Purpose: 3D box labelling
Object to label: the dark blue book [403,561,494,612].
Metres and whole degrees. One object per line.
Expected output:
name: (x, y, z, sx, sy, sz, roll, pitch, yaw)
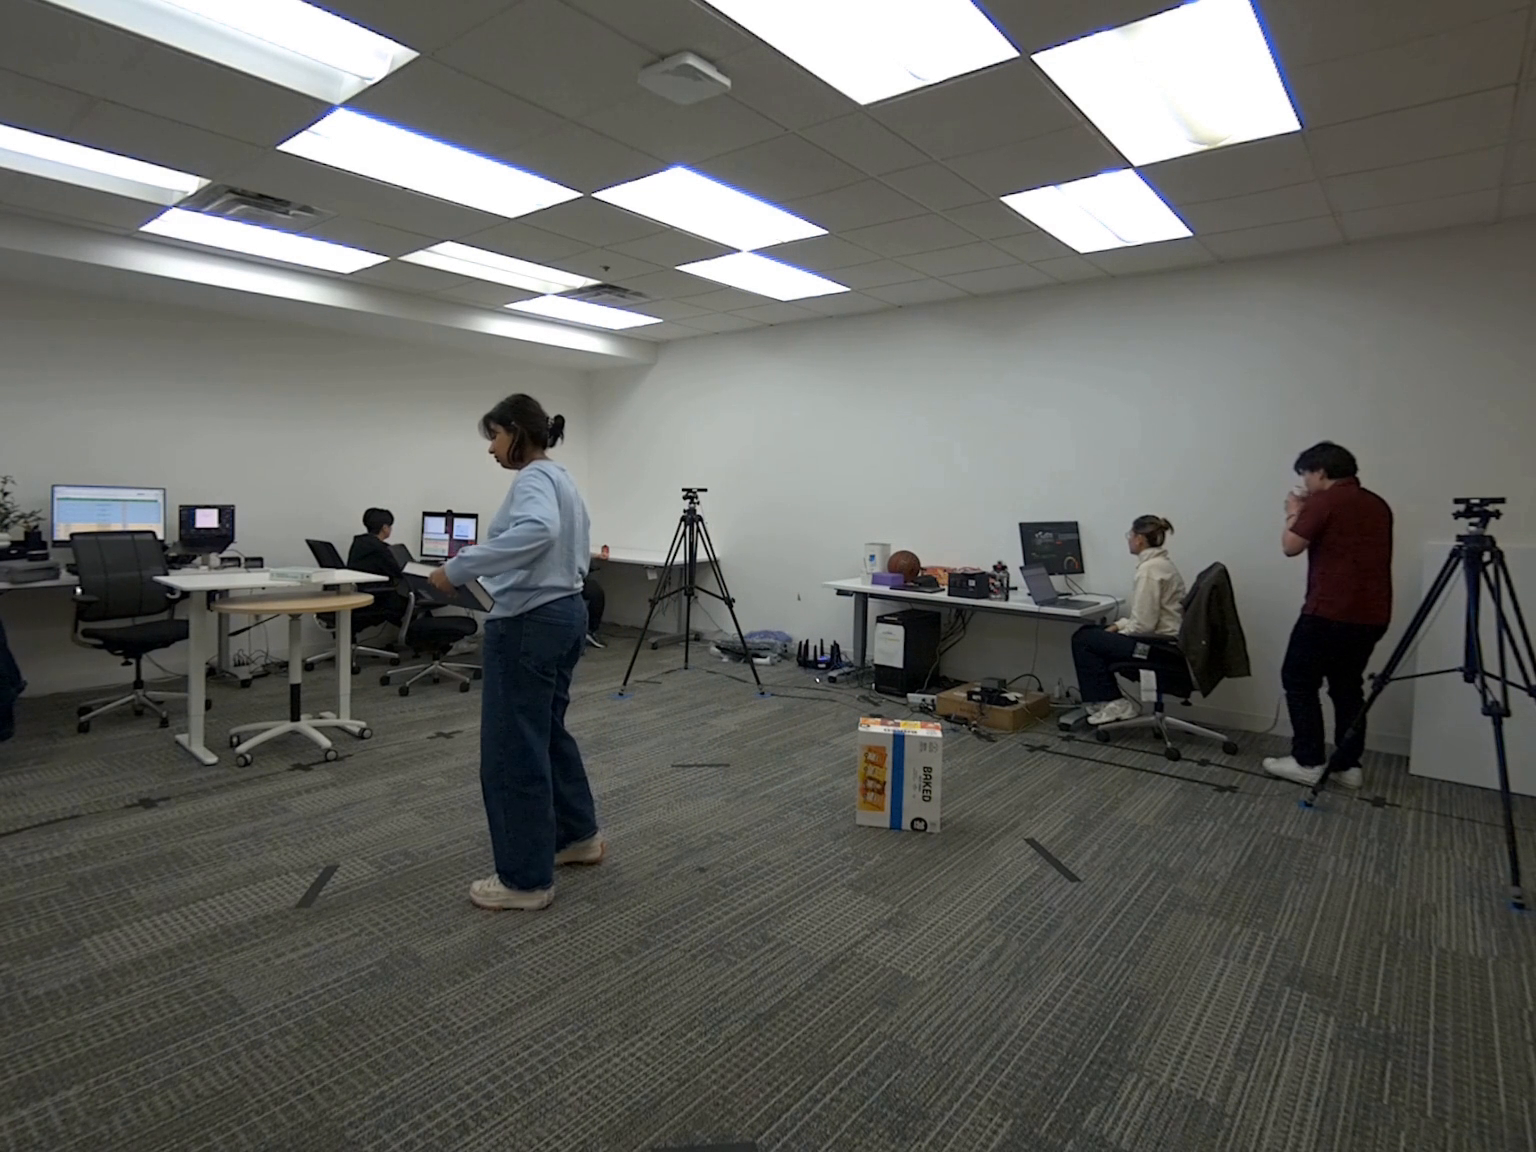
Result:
dark blue book: (-0.973, 0.025, 2.568, 0.251, 0.046, 0.157, 11, -32, 21)
